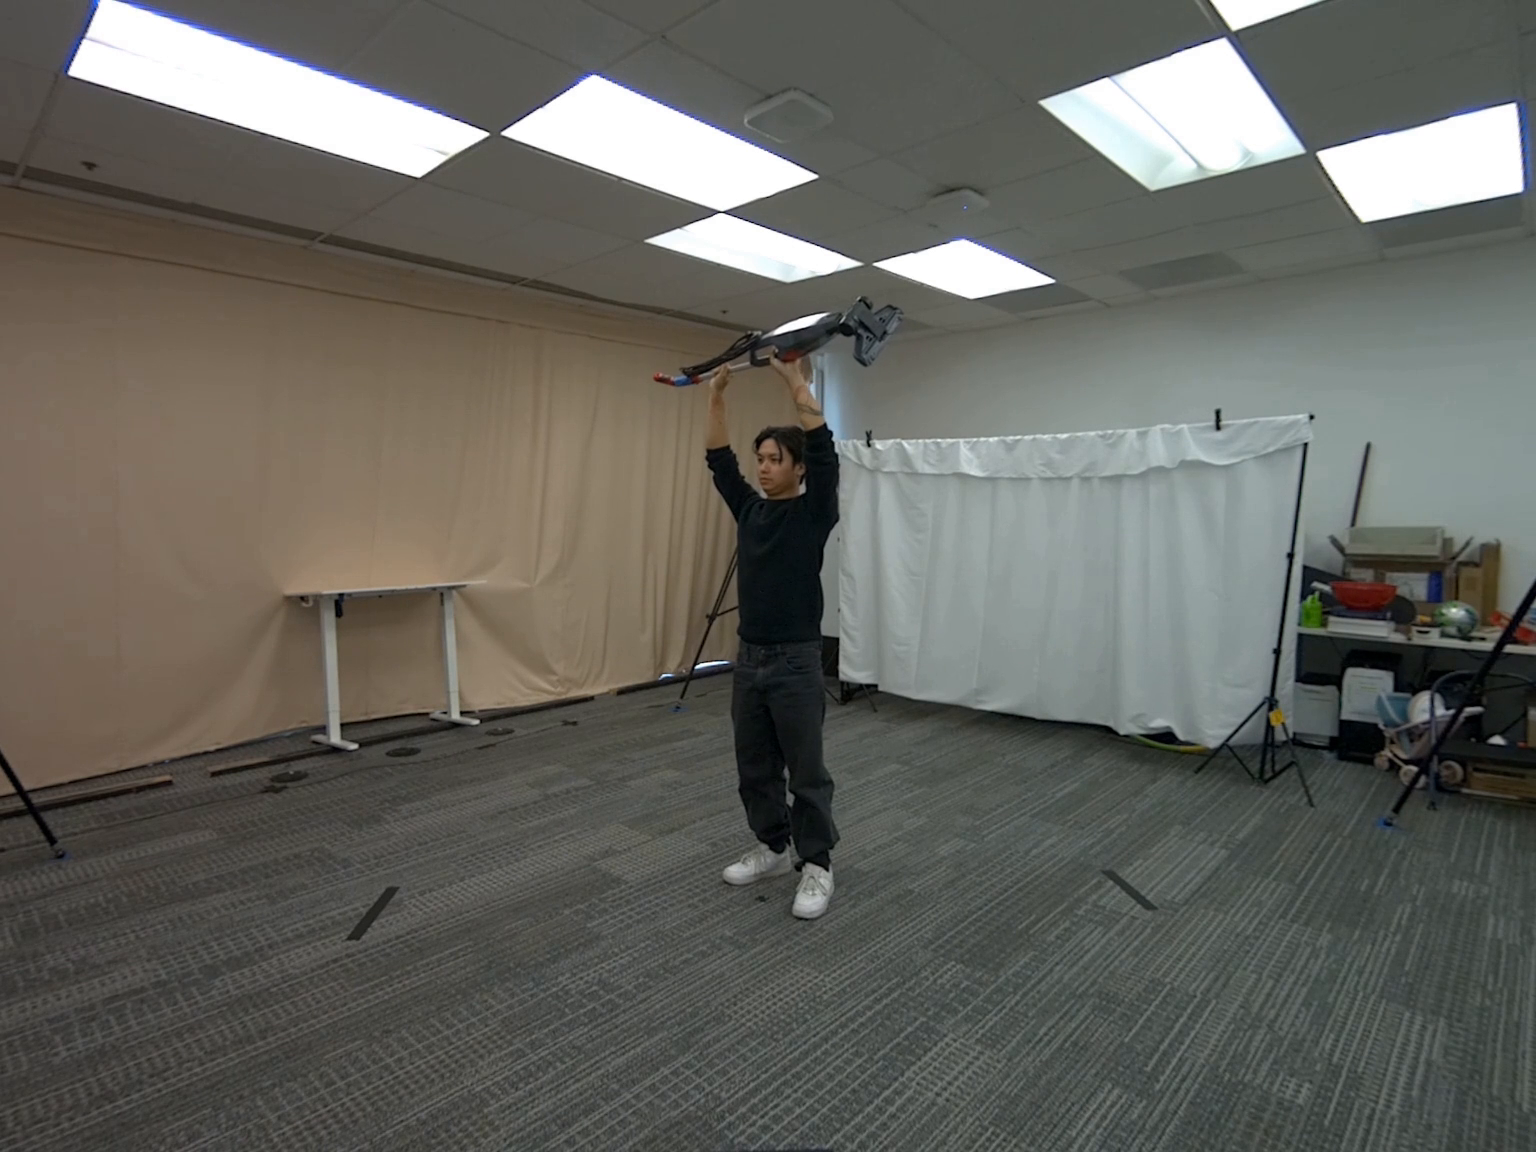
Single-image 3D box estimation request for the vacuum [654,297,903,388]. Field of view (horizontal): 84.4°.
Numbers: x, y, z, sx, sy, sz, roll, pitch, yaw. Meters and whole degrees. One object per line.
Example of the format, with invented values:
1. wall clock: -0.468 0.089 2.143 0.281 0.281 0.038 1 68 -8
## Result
1. vacuum: -0.059 -0.763 2.875 1.084 0.140 0.251 3 46 46
